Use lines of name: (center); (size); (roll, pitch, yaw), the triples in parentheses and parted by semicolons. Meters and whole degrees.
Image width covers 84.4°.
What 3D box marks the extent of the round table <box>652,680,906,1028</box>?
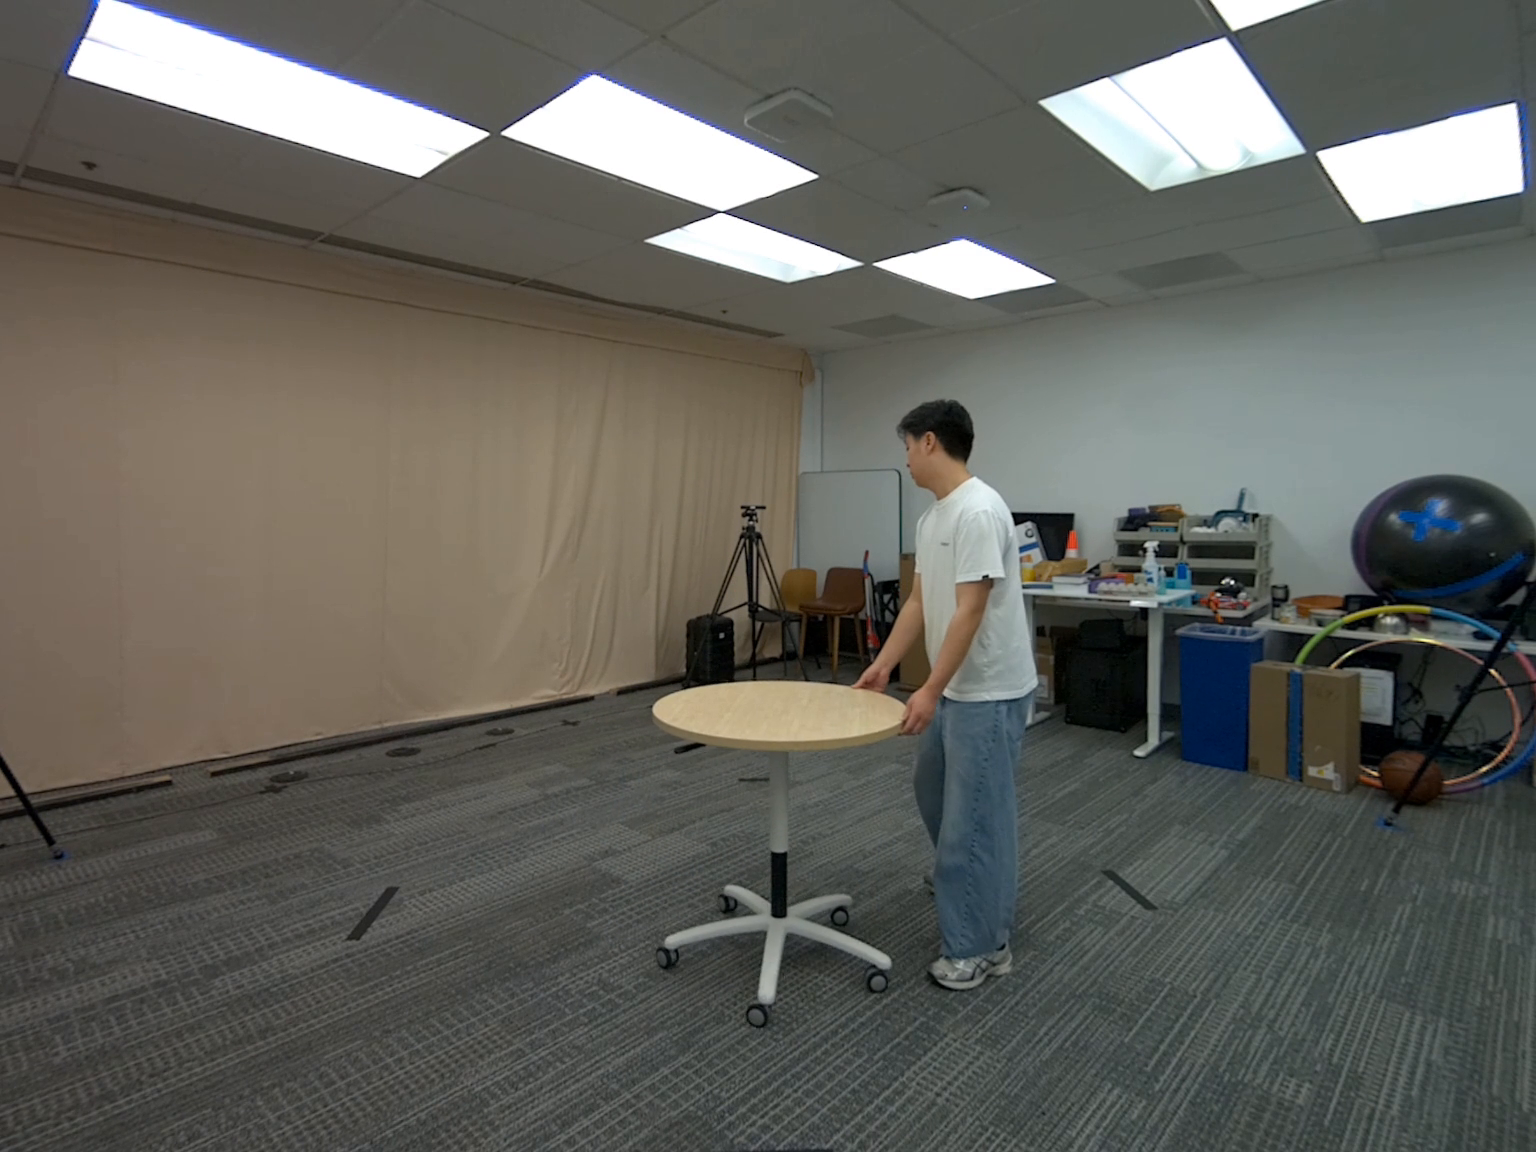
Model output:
round table: (0.033, 0.793, 2.573); (0.763, 0.792, 0.767); (0, 4, -2)
